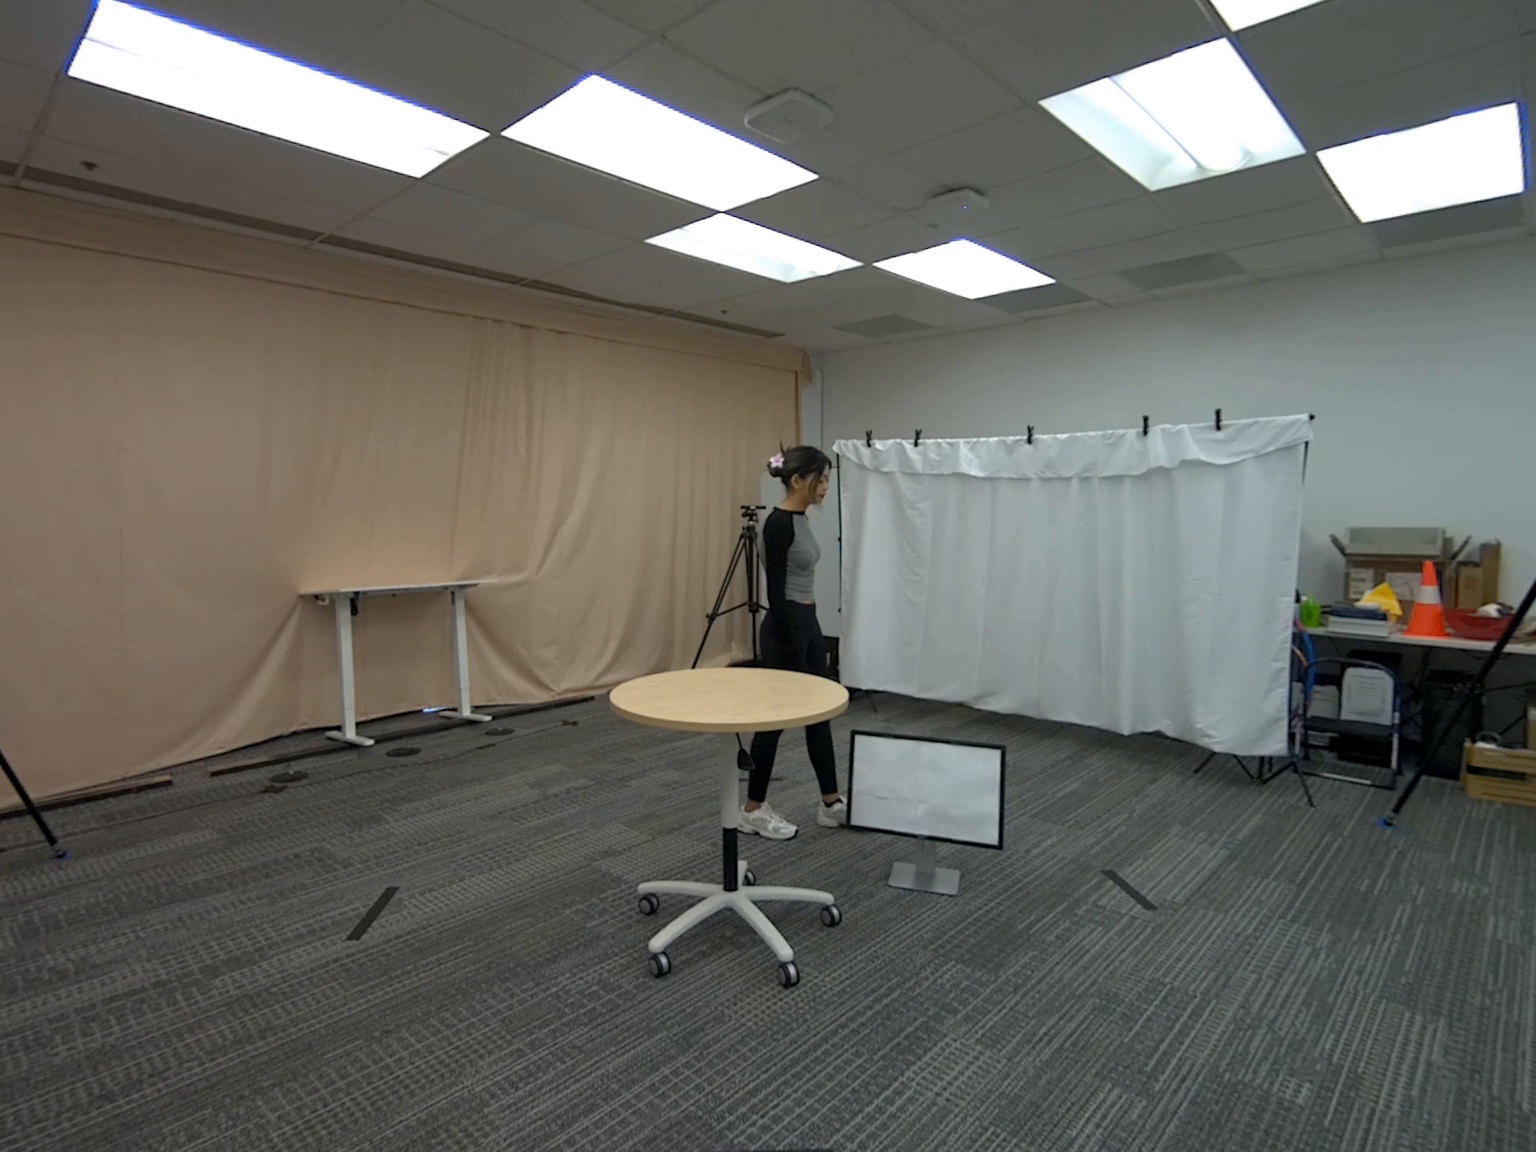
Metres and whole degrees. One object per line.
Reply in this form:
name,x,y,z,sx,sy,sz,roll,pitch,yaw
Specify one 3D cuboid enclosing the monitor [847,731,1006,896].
monitor,0.591,0.865,3.116,0.550,0.521,0.184,2,5,19
